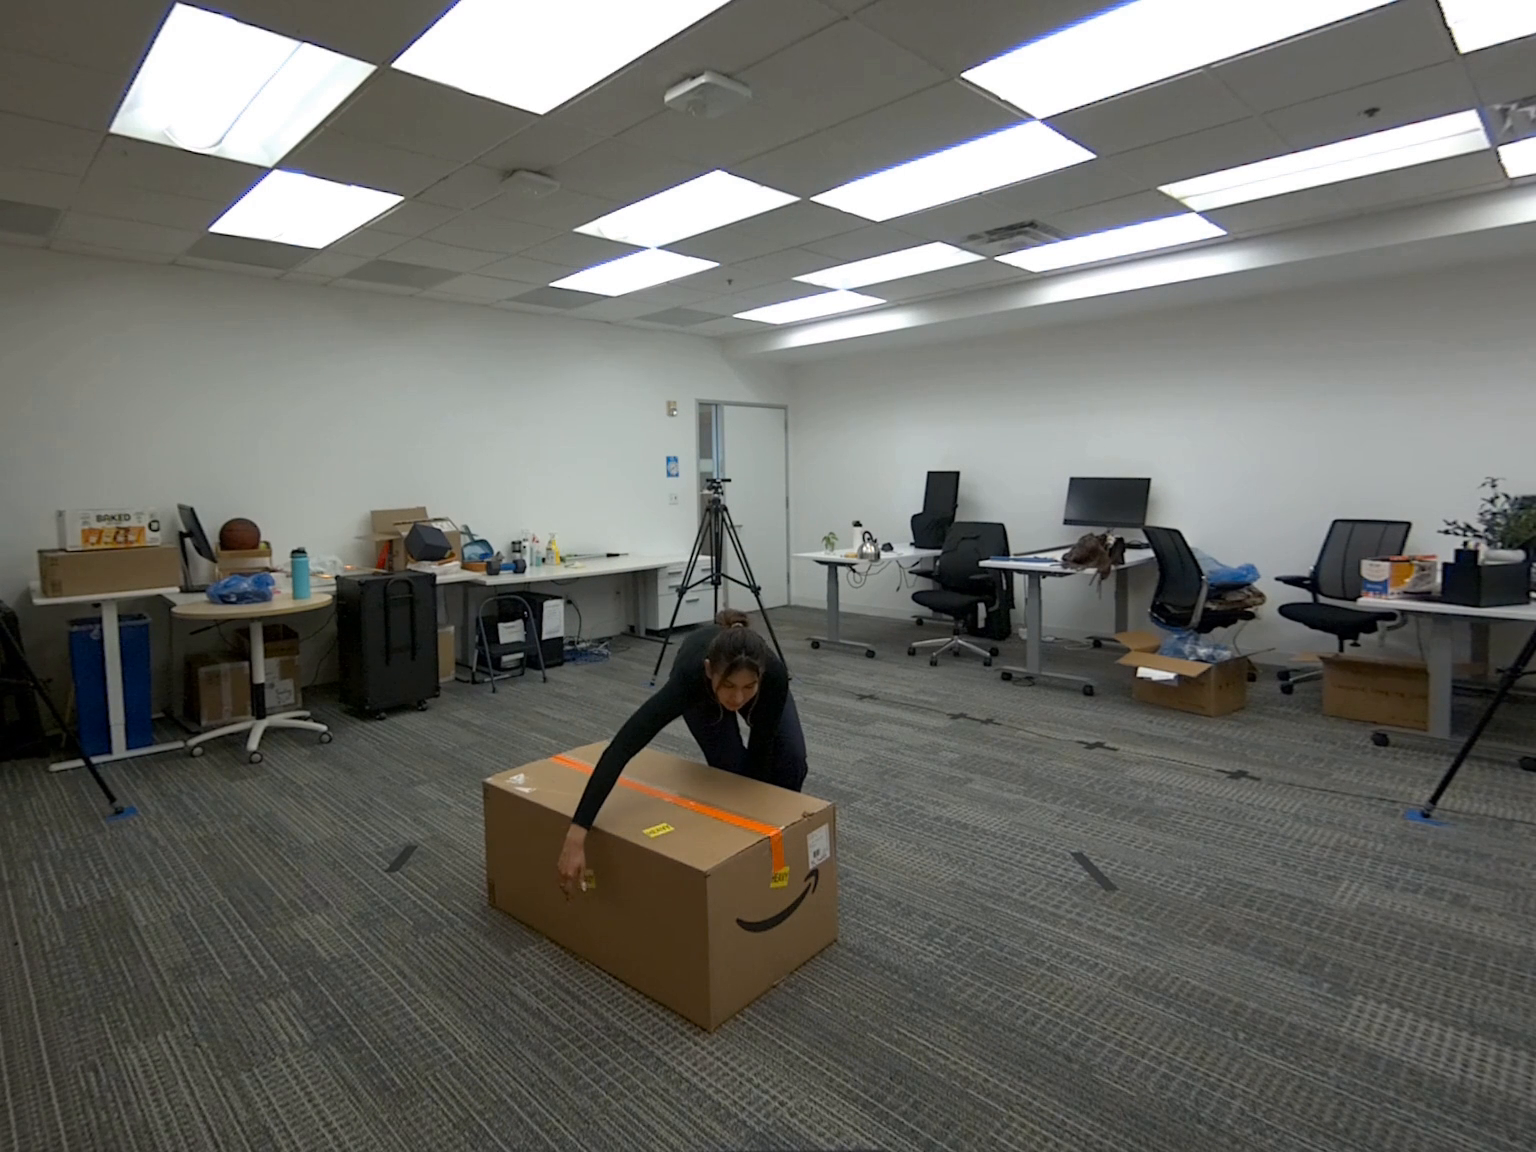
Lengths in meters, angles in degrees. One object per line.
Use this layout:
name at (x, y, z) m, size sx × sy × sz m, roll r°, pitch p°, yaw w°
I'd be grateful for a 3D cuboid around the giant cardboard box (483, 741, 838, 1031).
giant cardboard box at (-0.364, 0.883, 2.702) m, size 1.057 × 0.424 × 0.563 m, roll 5°, pitch 9°, yaw 41°
